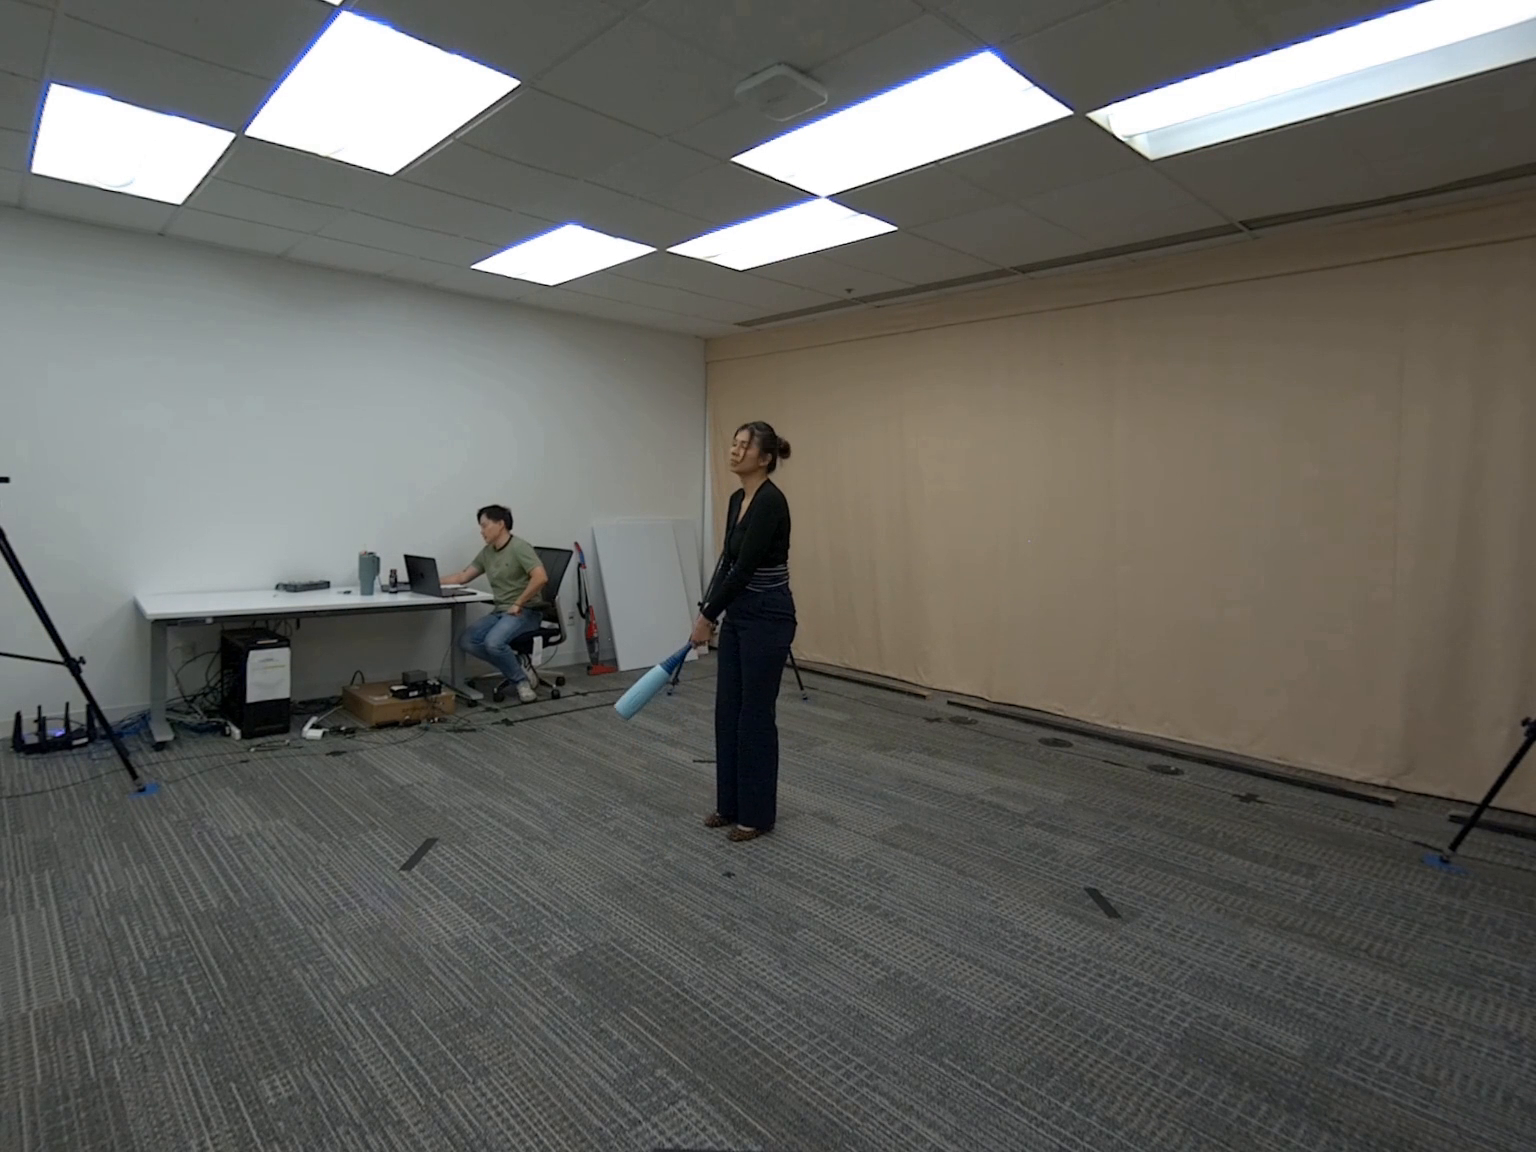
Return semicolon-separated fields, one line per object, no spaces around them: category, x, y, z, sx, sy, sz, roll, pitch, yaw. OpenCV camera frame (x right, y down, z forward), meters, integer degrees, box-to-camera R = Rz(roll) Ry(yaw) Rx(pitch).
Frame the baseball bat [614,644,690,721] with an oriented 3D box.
baseball bat;-0.410;0.372;3.396;0.543;0.088;0.090;-45;14;-8
